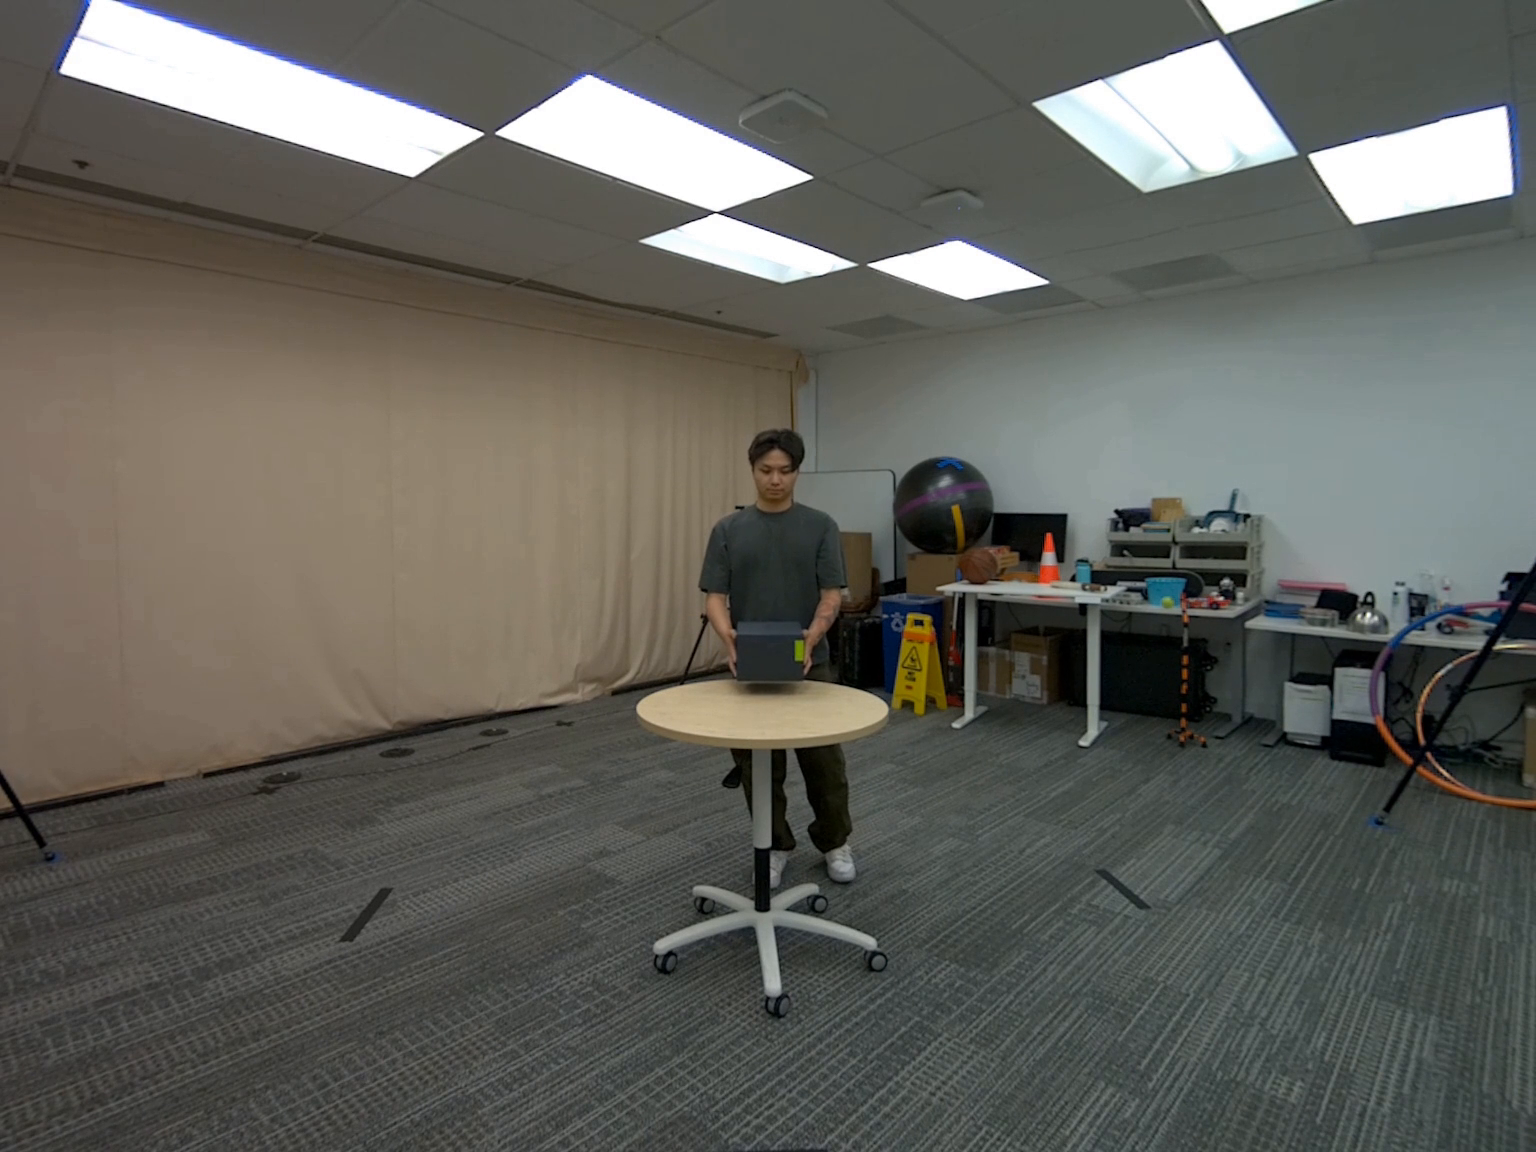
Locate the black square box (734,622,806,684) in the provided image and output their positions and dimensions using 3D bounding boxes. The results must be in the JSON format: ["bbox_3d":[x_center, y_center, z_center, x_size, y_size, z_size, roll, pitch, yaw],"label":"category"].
[{"bbox_3d":[0.010,0.243,2.789,0.217,0.155,0.228,1,6,0],"label":"black square box"}]
